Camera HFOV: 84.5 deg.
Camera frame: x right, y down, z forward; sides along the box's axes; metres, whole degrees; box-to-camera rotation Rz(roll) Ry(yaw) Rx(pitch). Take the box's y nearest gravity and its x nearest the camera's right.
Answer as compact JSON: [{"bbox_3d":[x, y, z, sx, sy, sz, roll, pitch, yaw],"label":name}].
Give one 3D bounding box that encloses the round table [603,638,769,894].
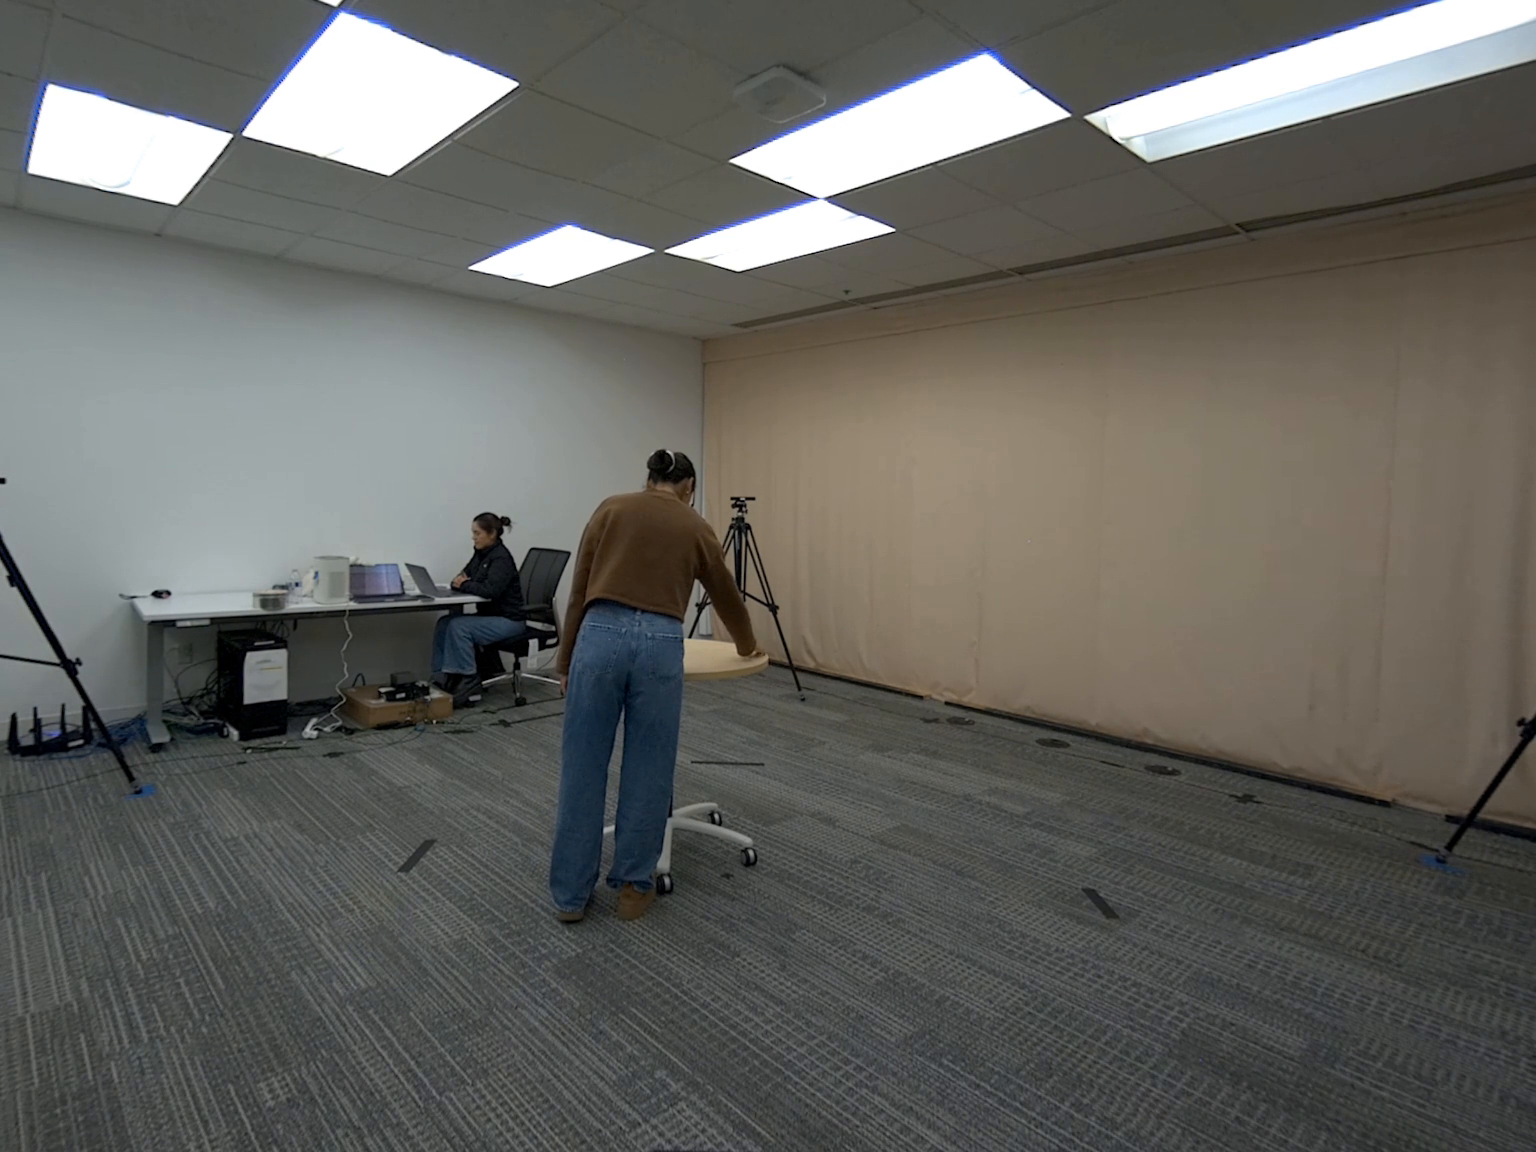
[{"bbox_3d":[-0.399,0.698,3.297,0.763,0.792,0.766,1,3,-1],"label":"round table"}]
